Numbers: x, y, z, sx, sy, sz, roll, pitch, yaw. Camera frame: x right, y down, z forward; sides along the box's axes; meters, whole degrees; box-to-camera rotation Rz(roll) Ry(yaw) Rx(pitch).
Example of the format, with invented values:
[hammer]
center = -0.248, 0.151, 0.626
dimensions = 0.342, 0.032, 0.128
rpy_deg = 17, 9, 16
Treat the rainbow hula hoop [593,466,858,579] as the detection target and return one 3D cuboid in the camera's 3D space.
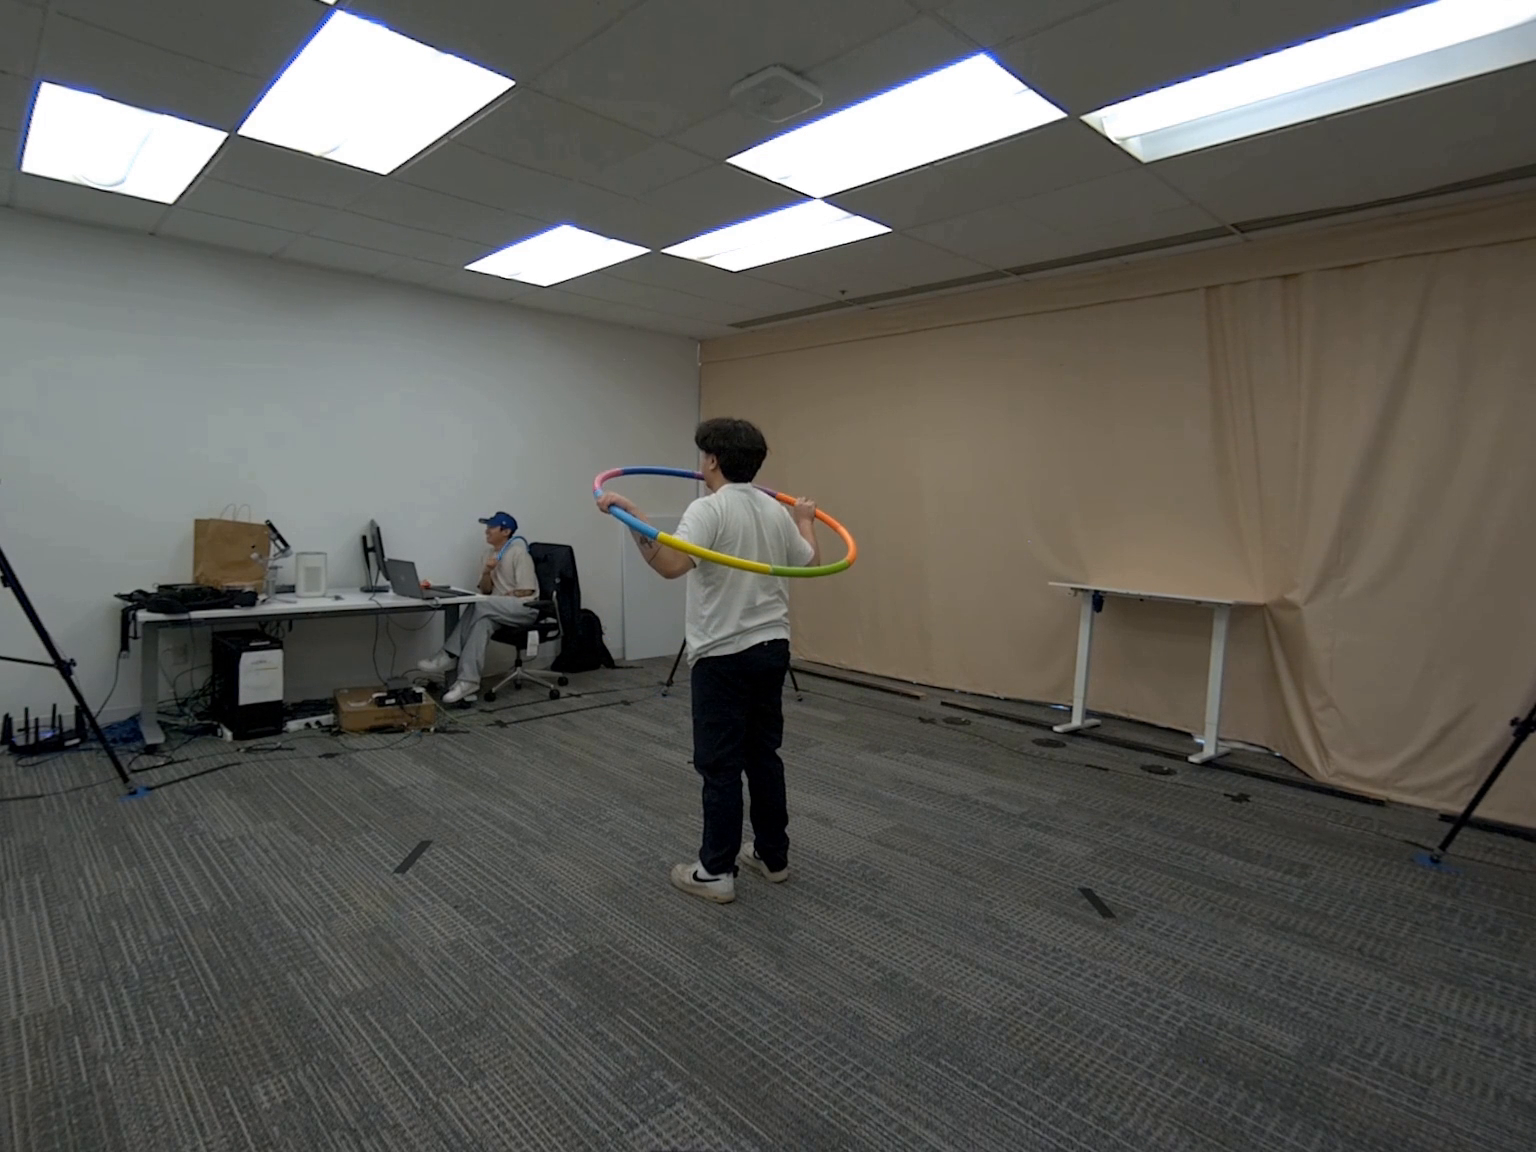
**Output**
[rainbow hula hoop]
center = -0.143, -0.218, 3.054
dimensions = 0.980, 0.051, 1.000
rpy_deg = 13, 20, -6
